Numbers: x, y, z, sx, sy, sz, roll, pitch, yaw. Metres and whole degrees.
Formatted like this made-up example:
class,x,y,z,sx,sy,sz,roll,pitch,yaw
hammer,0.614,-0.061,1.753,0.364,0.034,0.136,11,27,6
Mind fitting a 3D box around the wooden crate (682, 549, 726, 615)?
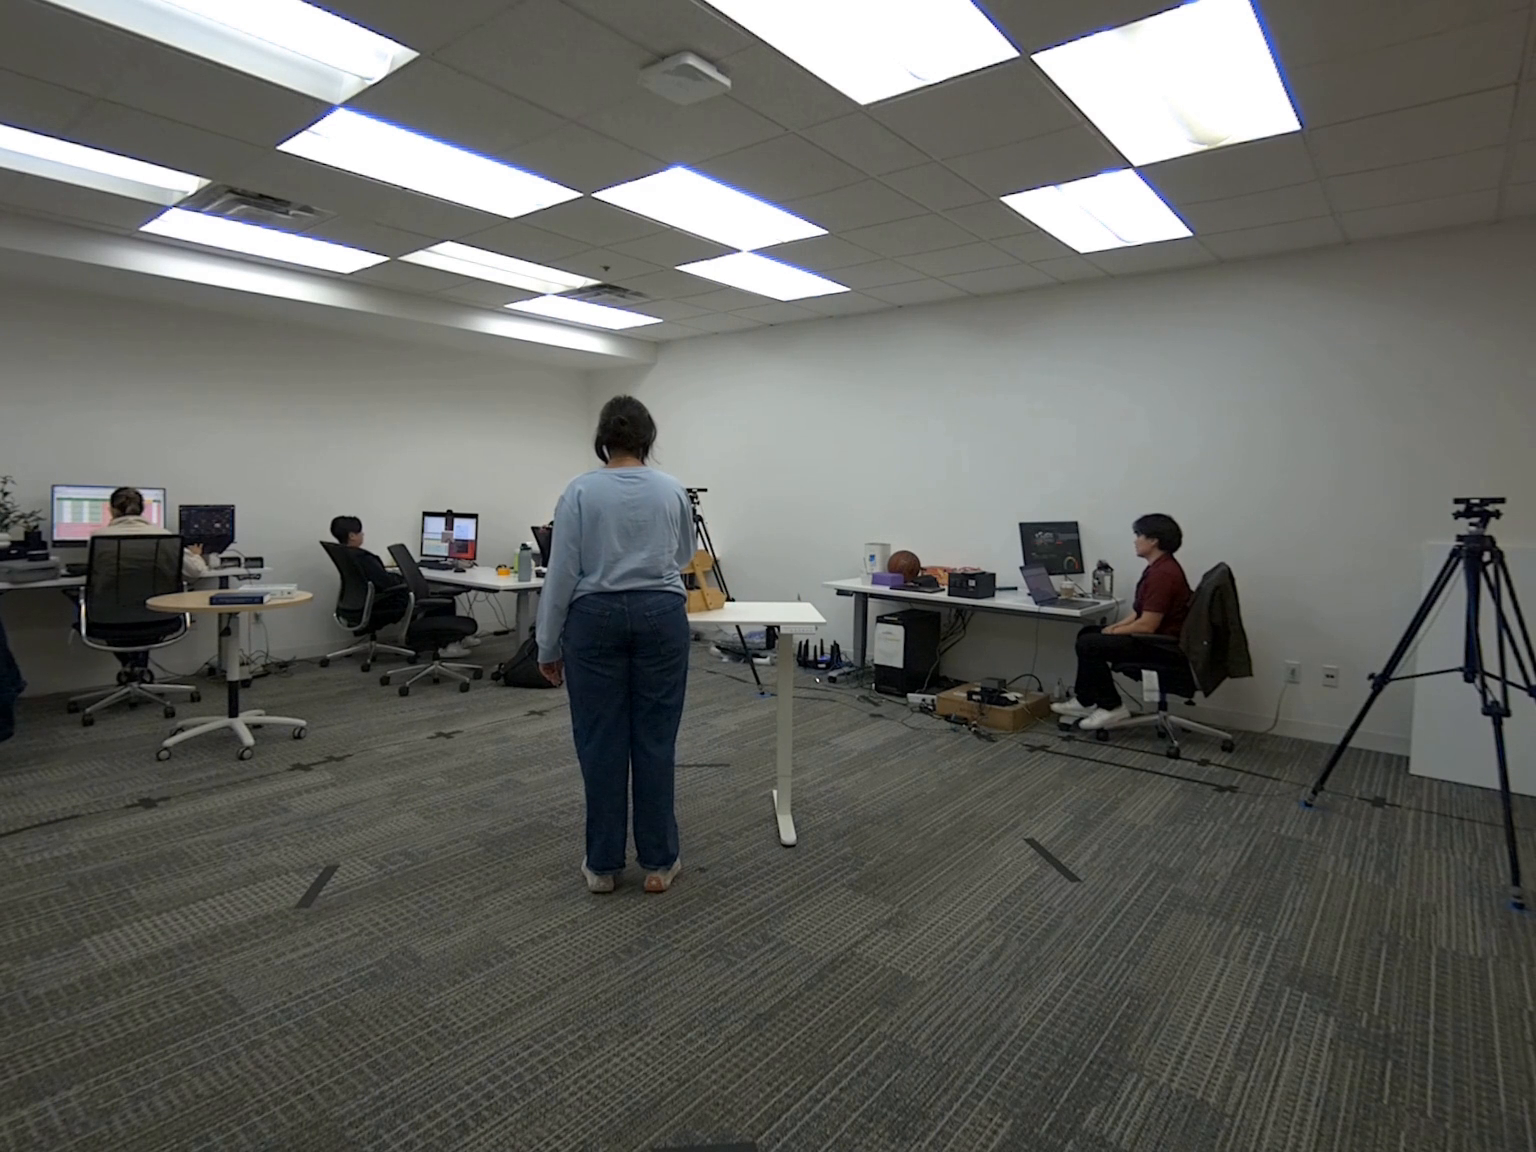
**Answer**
class,x,y,z,sx,sy,sz,roll,pitch,yaw
wooden crate,-0.397,0.001,3.634,0.335,0.272,0.294,4,6,35
